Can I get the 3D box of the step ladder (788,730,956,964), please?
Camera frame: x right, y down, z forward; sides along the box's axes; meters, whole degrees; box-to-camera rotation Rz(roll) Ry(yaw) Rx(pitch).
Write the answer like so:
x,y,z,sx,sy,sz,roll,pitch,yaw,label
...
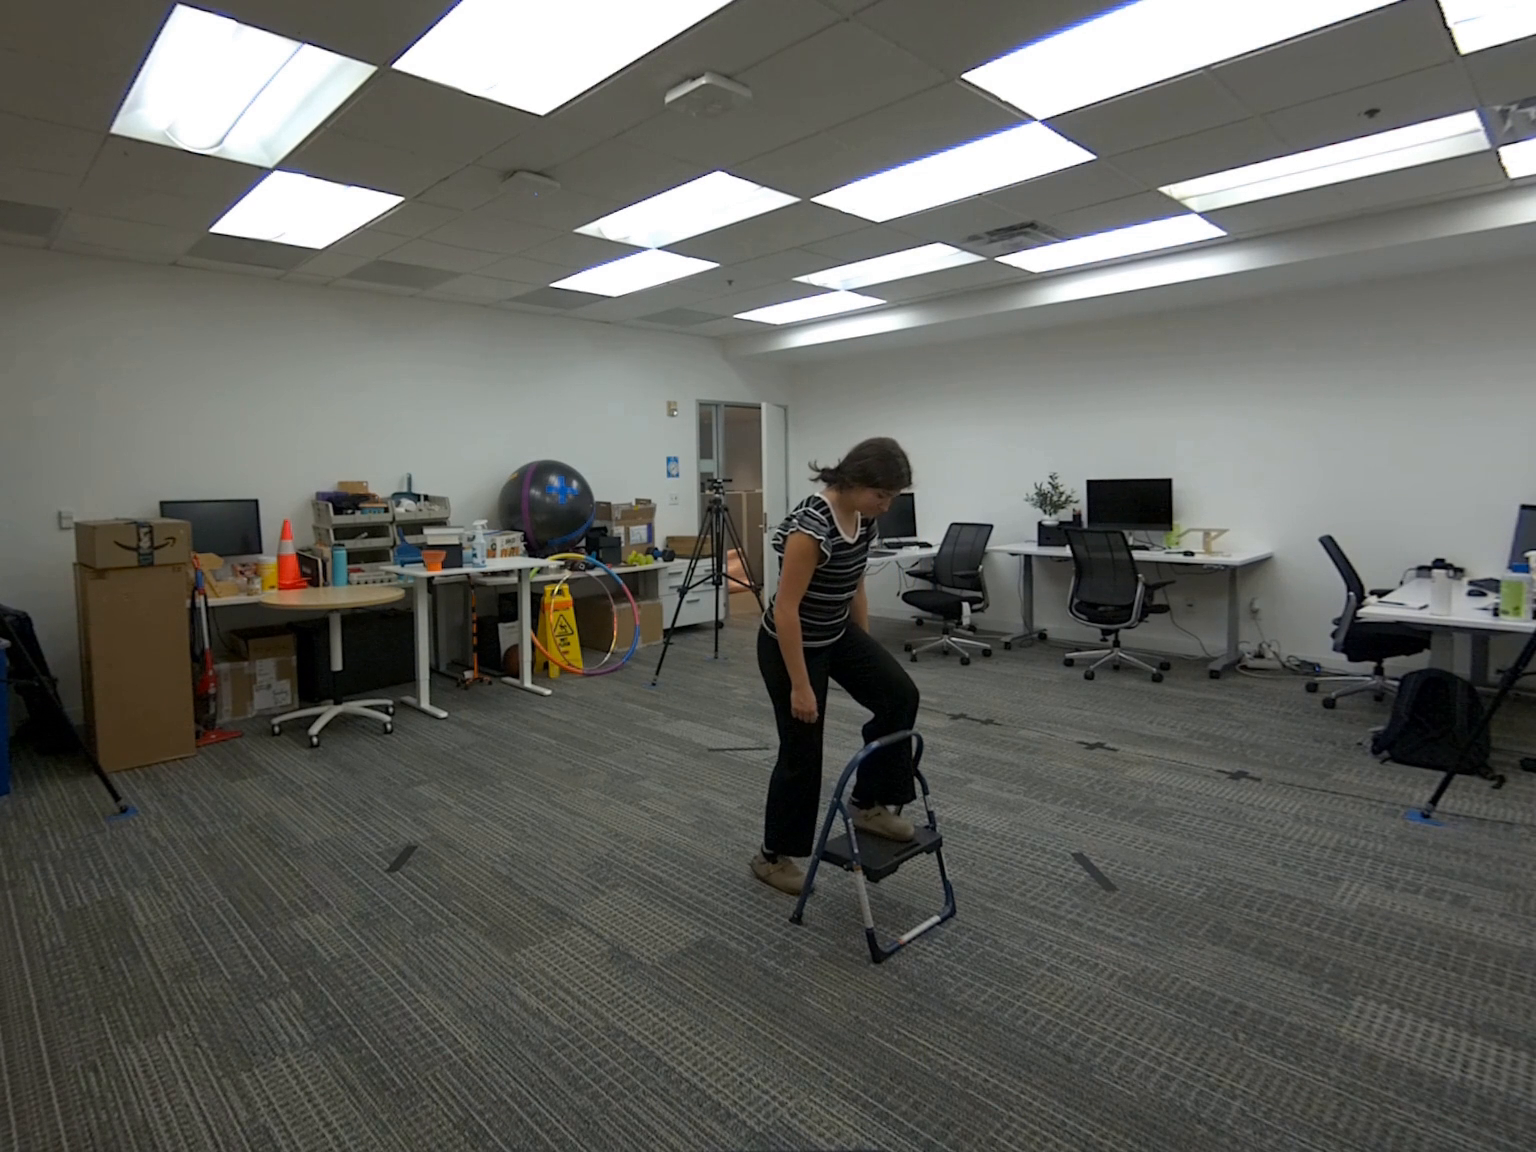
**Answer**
x,y,z,sx,sy,sz,roll,pitch,yaw,label
0.336,0.787,2.689,0.419,0.604,0.360,-6,6,-44,step ladder
